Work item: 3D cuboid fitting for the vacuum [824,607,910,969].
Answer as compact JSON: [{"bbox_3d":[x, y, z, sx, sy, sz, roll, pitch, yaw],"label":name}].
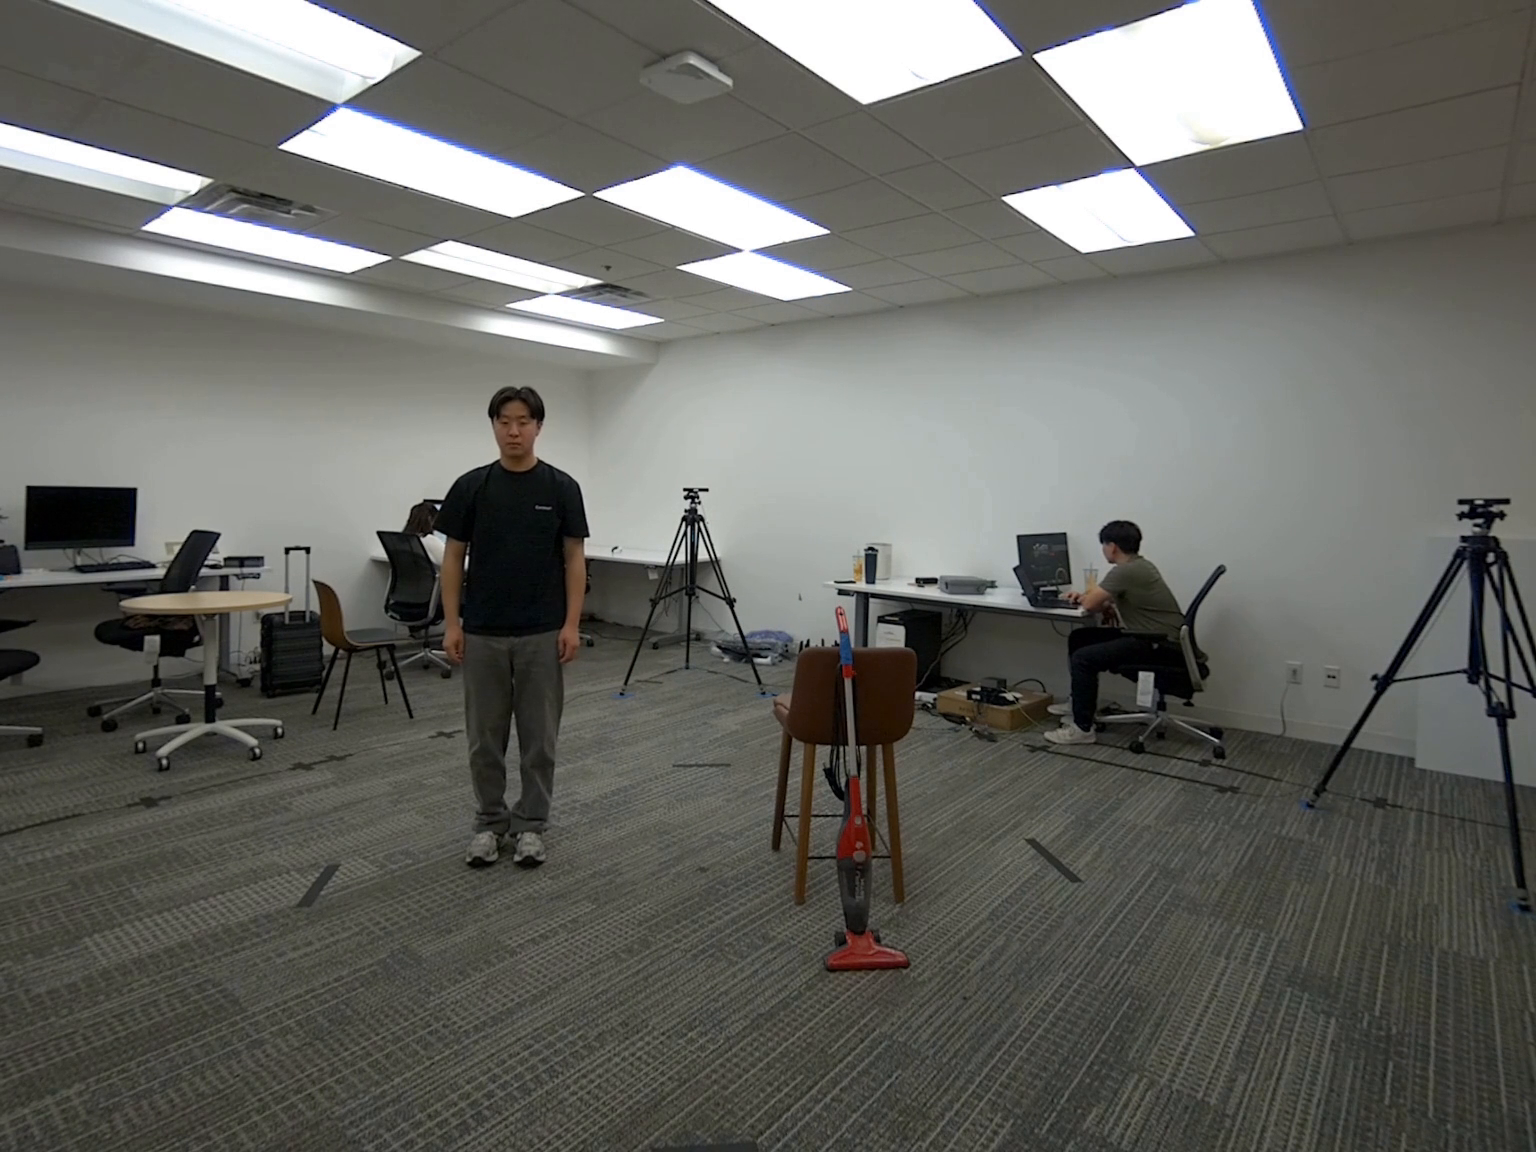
[{"bbox_3d":[0.252,0.619,2.678,0.248,1.065,0.144,1,-15,-18],"label":"vacuum"}]
